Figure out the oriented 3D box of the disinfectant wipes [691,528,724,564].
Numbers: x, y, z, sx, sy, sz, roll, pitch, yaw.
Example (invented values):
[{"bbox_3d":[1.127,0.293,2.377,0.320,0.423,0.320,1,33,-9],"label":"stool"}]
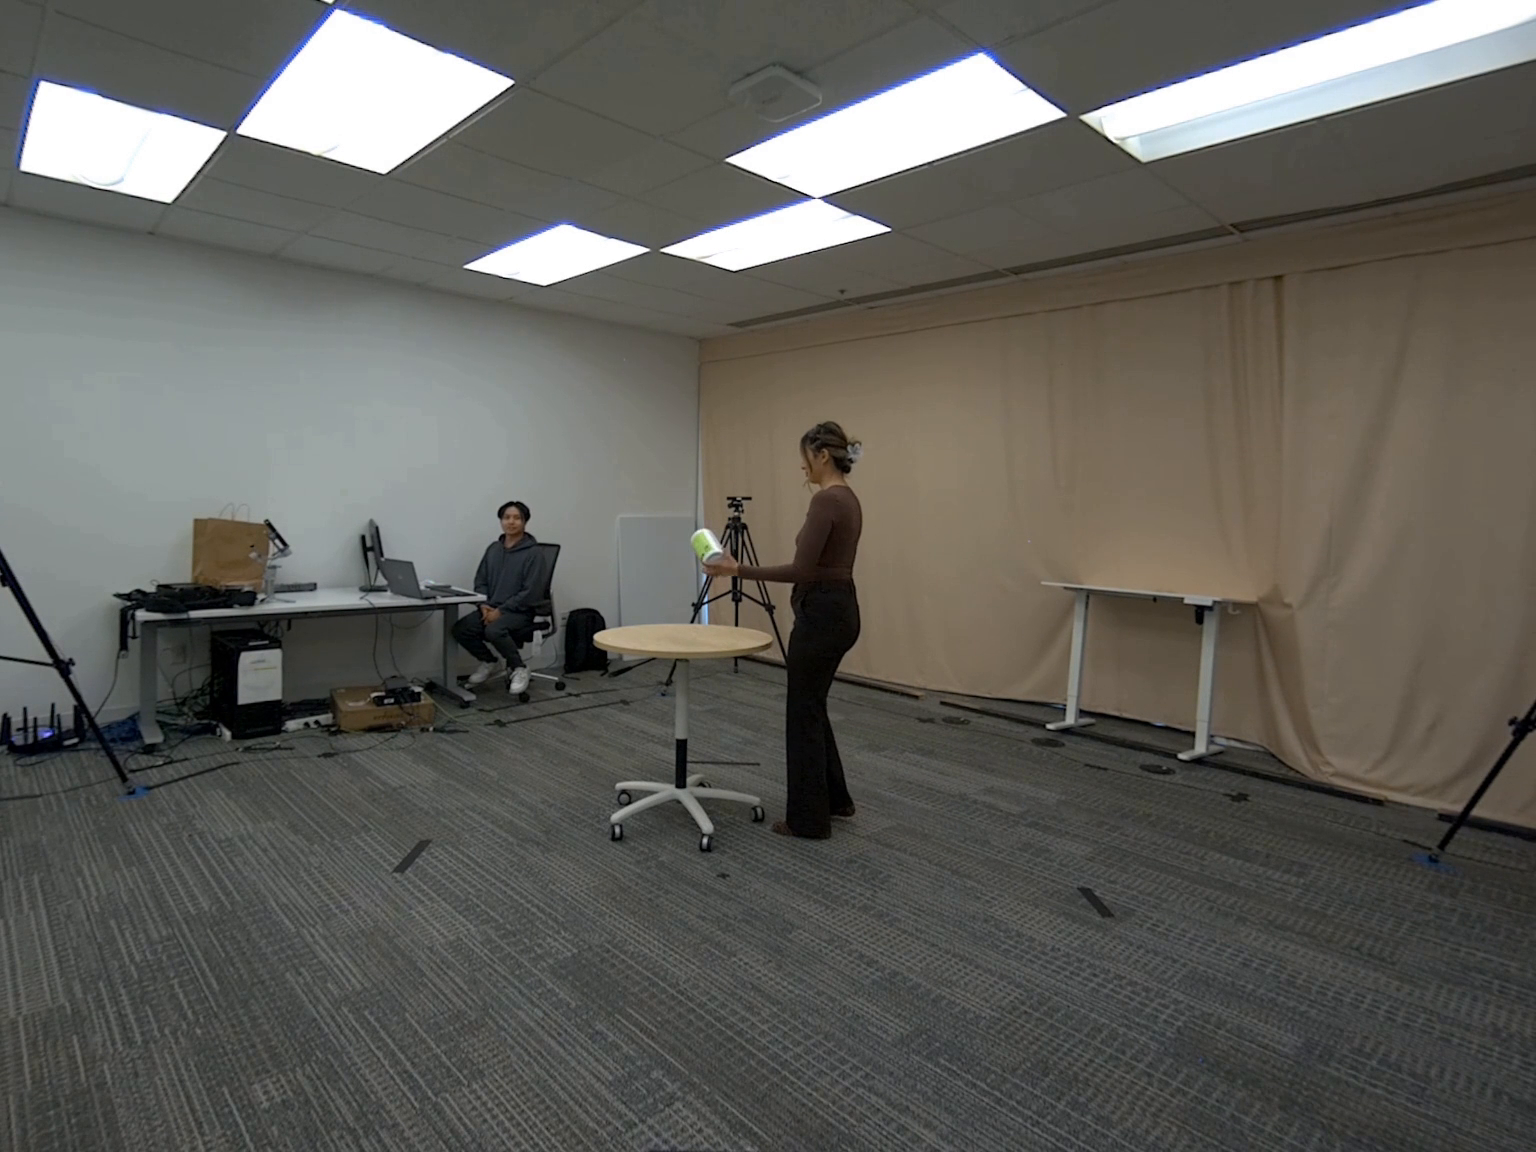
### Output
[{"bbox_3d":[-0.242,-0.101,3.468,0.116,0.116,0.224,-1,29,-23],"label":"disinfectant wipes"}]
